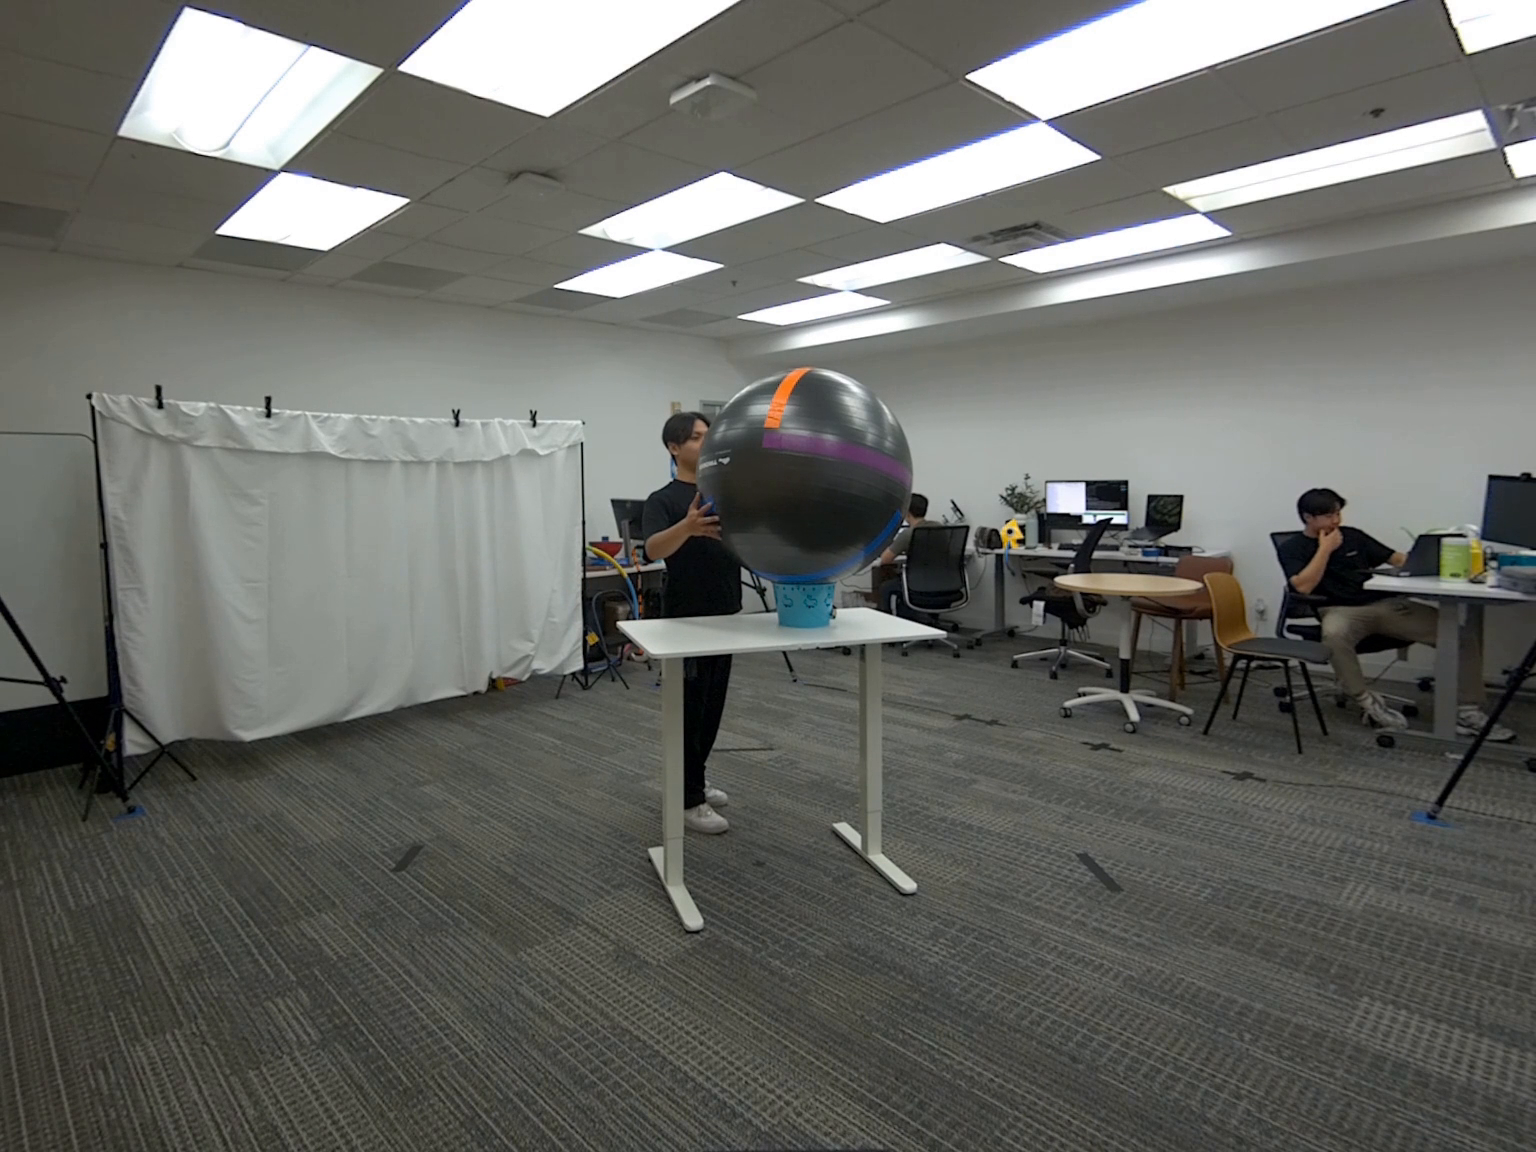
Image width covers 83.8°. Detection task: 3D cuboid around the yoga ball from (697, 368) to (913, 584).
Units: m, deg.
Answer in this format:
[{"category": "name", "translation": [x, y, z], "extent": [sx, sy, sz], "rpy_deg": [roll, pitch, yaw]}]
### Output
[{"category": "yoga ball", "translation": [0.129, -0.343, 3.006], "extent": [0.757, 0.755, 0.762], "rpy_deg": [-1, 5, -2]}]
